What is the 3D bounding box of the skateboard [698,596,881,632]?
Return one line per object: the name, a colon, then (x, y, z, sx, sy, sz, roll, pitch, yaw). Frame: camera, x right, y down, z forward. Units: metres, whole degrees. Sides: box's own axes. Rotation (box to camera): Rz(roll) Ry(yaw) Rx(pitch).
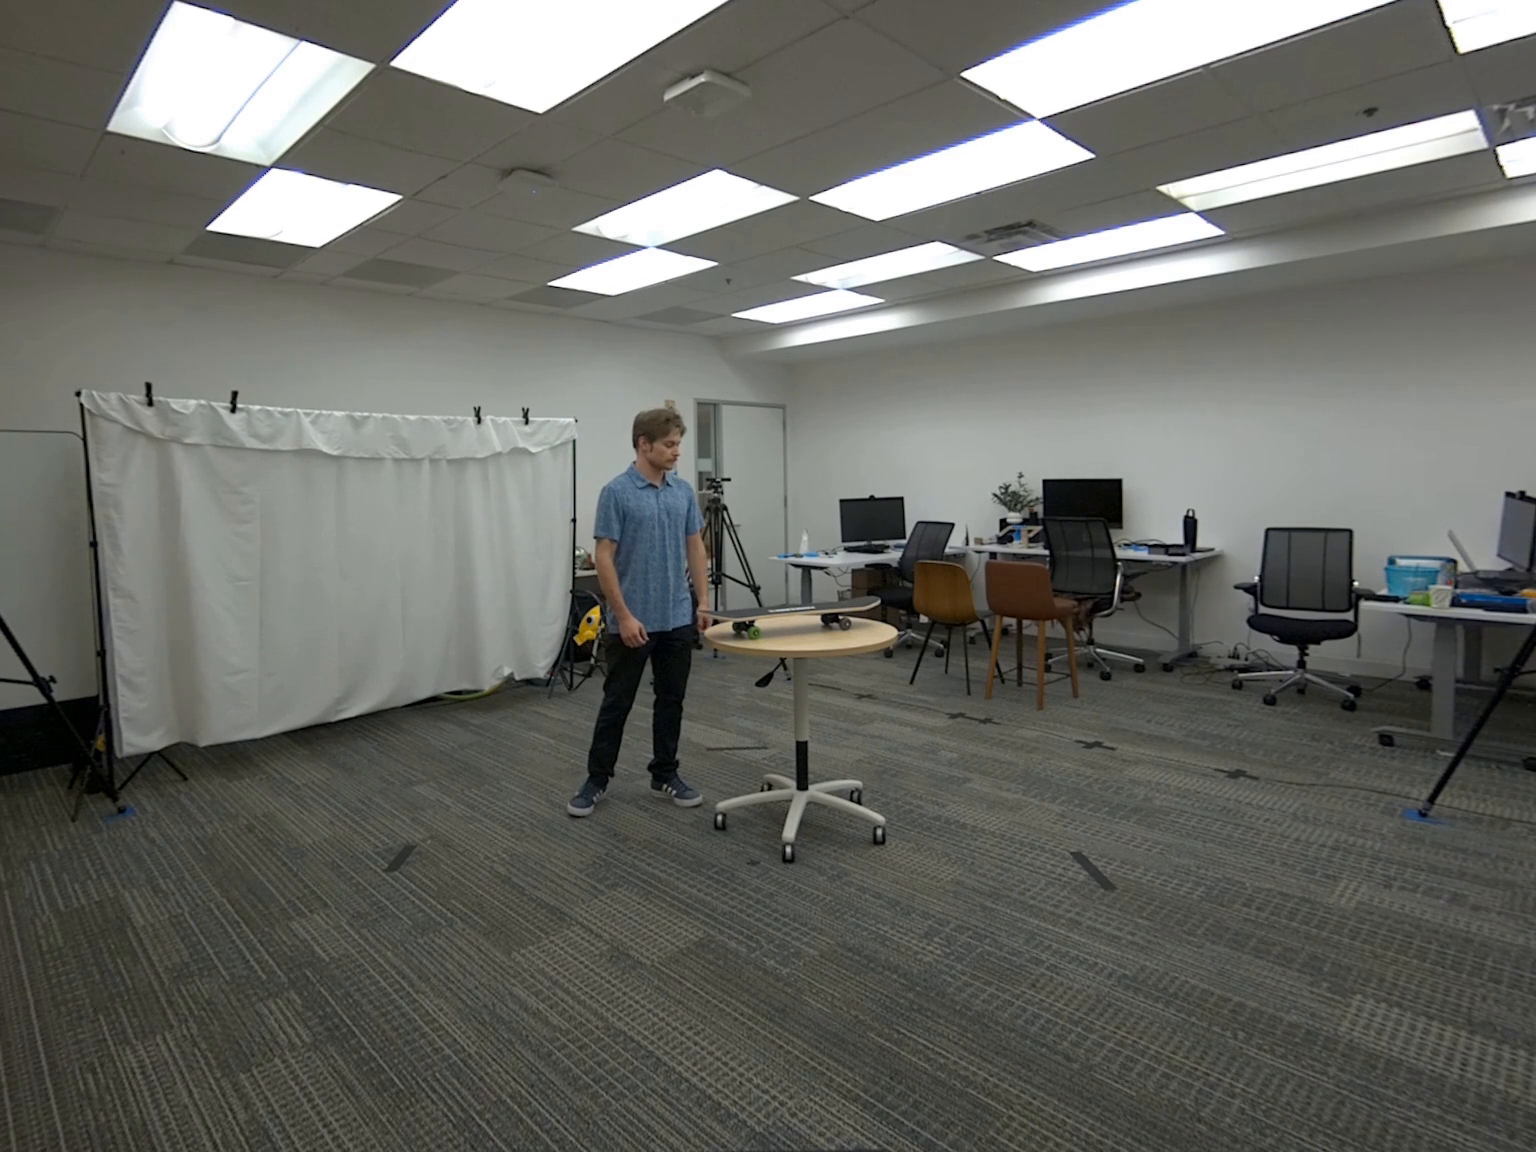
skateboard: (0.096, 0.169, 3.407, 0.771, 0.110, 0.198, -3, 5, -20)
